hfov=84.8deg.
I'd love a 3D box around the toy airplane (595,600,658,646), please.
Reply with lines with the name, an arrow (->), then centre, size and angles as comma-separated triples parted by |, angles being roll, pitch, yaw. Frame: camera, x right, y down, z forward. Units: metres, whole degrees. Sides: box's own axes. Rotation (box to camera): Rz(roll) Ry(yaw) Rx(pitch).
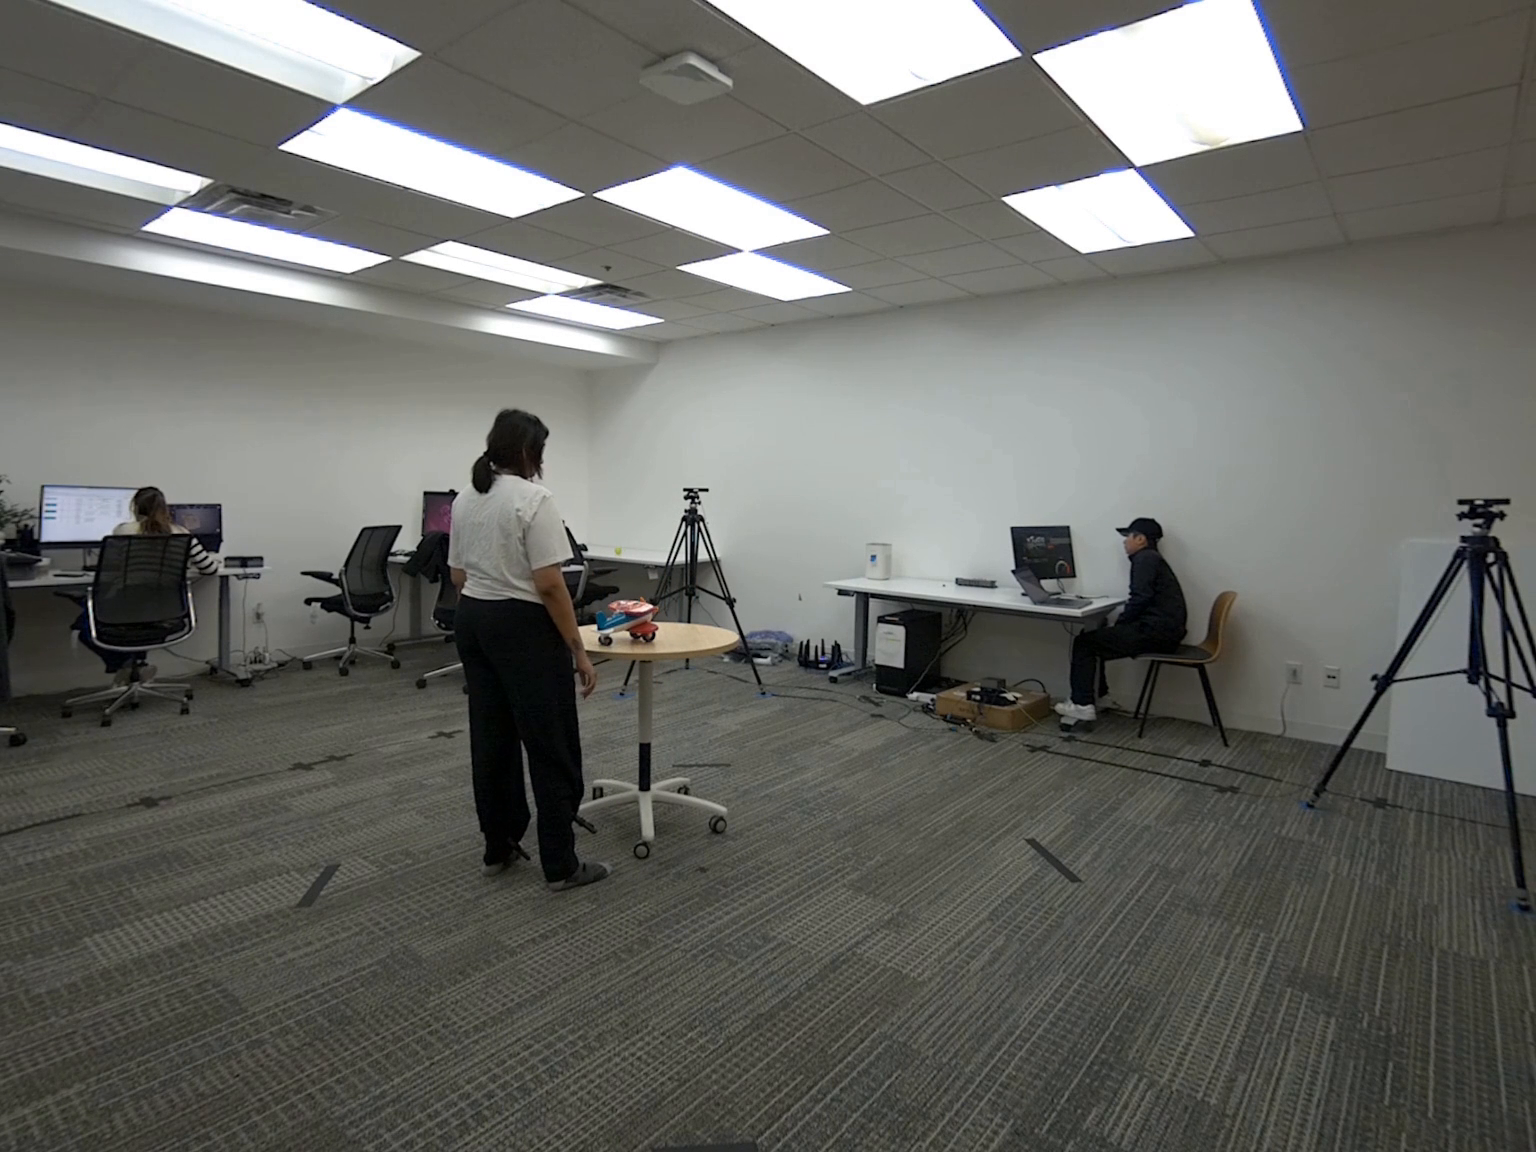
toy airplane -> -0.561, 0.184, 3.325 | 0.256, 0.156, 0.254 | 3, 4, 19
